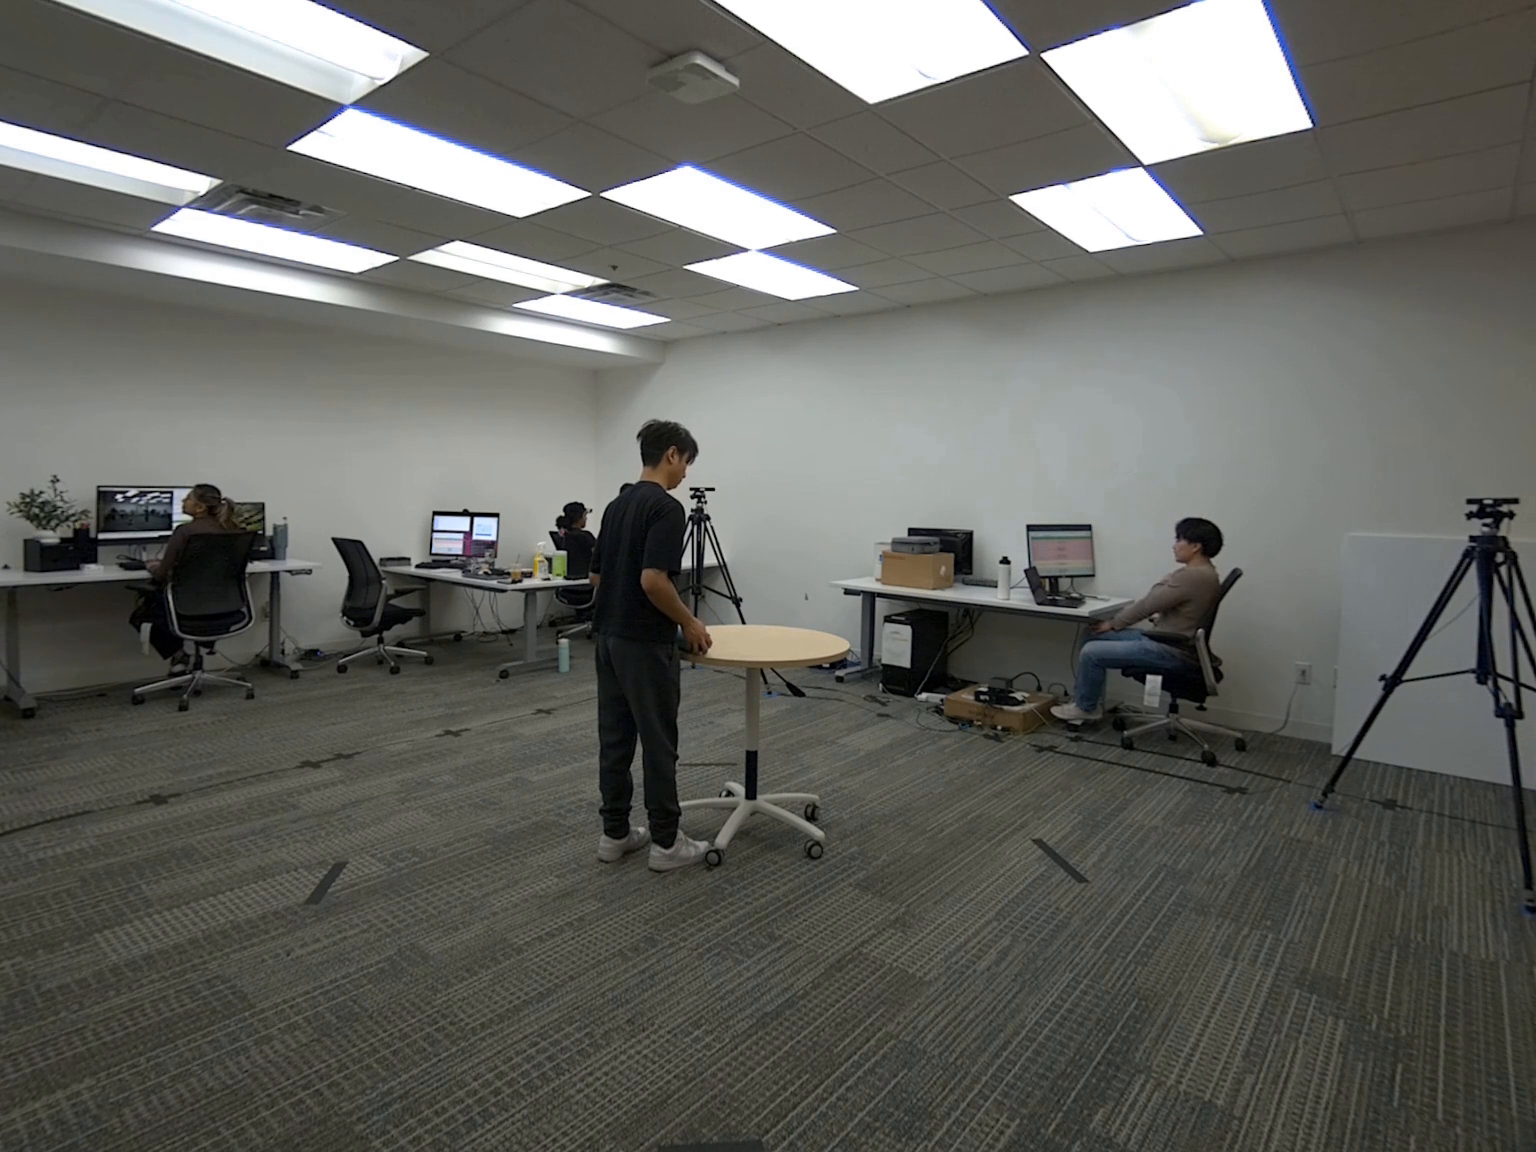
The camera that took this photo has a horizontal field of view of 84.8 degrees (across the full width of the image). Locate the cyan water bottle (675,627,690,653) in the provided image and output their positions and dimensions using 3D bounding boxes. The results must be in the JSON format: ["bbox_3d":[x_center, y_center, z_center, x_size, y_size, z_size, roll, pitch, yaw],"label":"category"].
[{"bbox_3d":[-0.317,0.228,3.215,0.090,0.092,0.293,-2,6,-36],"label":"cyan water bottle"}]
